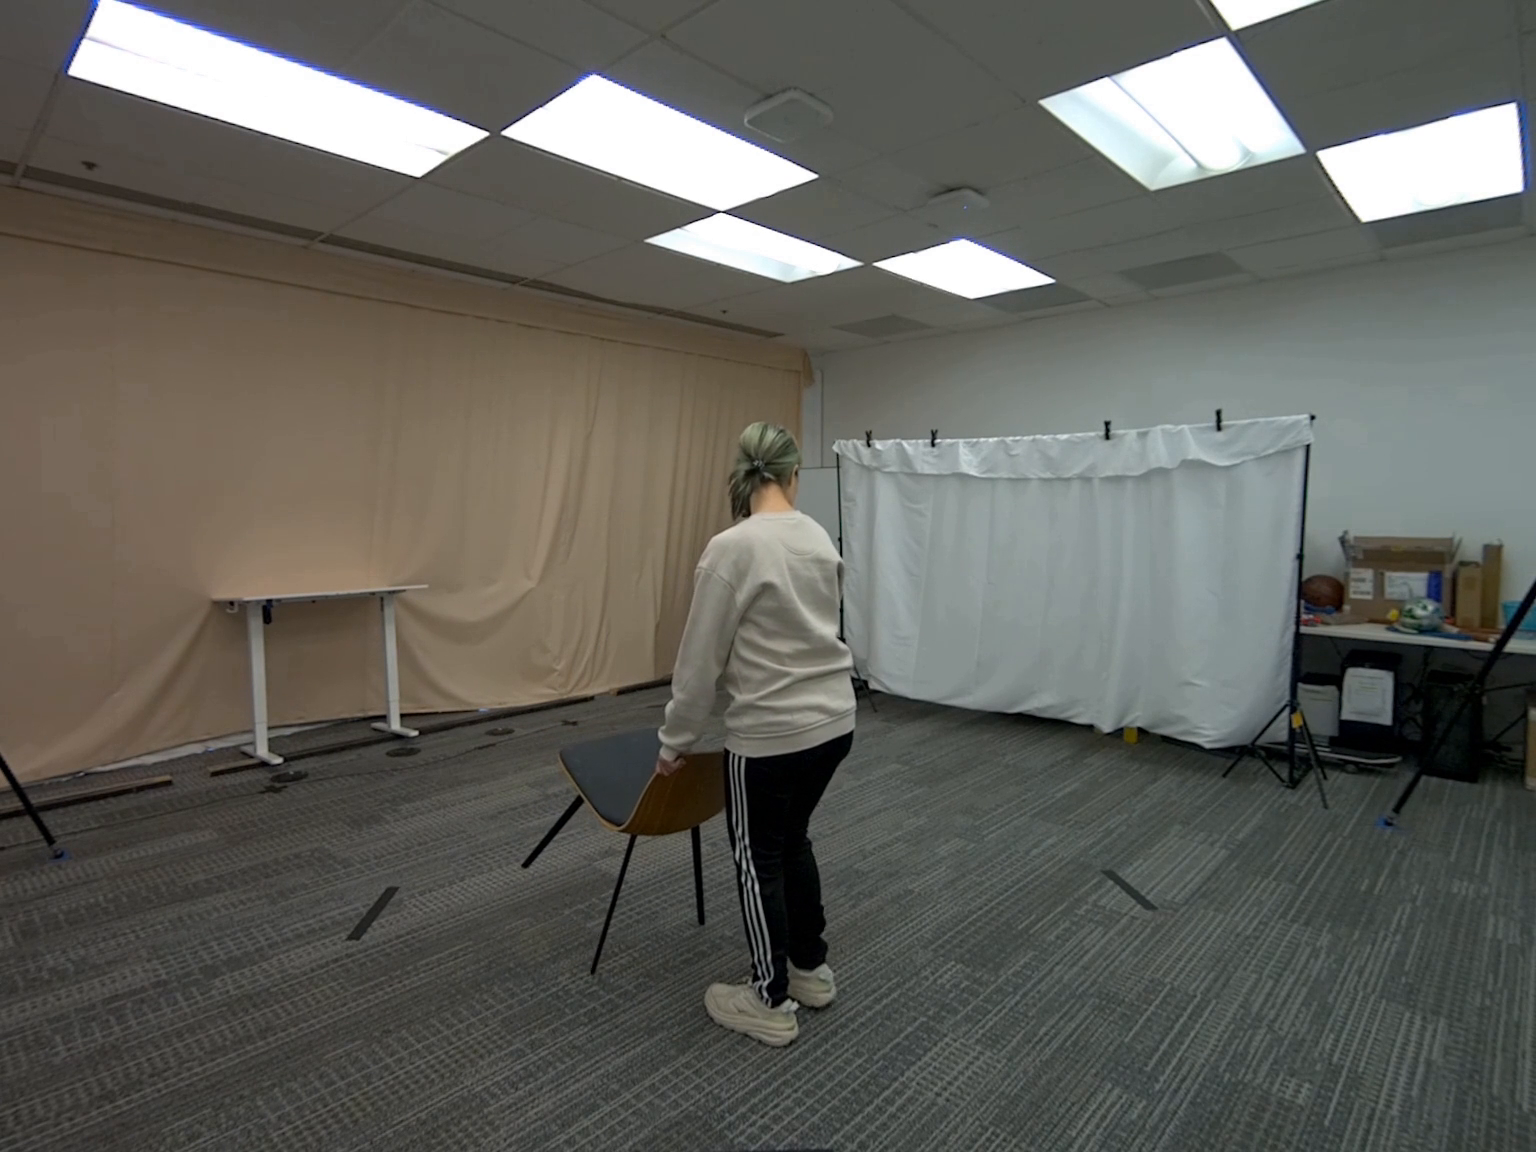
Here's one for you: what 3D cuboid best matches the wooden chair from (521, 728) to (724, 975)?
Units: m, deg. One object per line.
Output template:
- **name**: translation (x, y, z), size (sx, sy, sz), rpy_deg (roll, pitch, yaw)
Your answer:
- **wooden chair**: translation (-0.372, 0.682, 2.641), size (0.463, 0.874, 0.541), rpy_deg (-4, 36, -44)
